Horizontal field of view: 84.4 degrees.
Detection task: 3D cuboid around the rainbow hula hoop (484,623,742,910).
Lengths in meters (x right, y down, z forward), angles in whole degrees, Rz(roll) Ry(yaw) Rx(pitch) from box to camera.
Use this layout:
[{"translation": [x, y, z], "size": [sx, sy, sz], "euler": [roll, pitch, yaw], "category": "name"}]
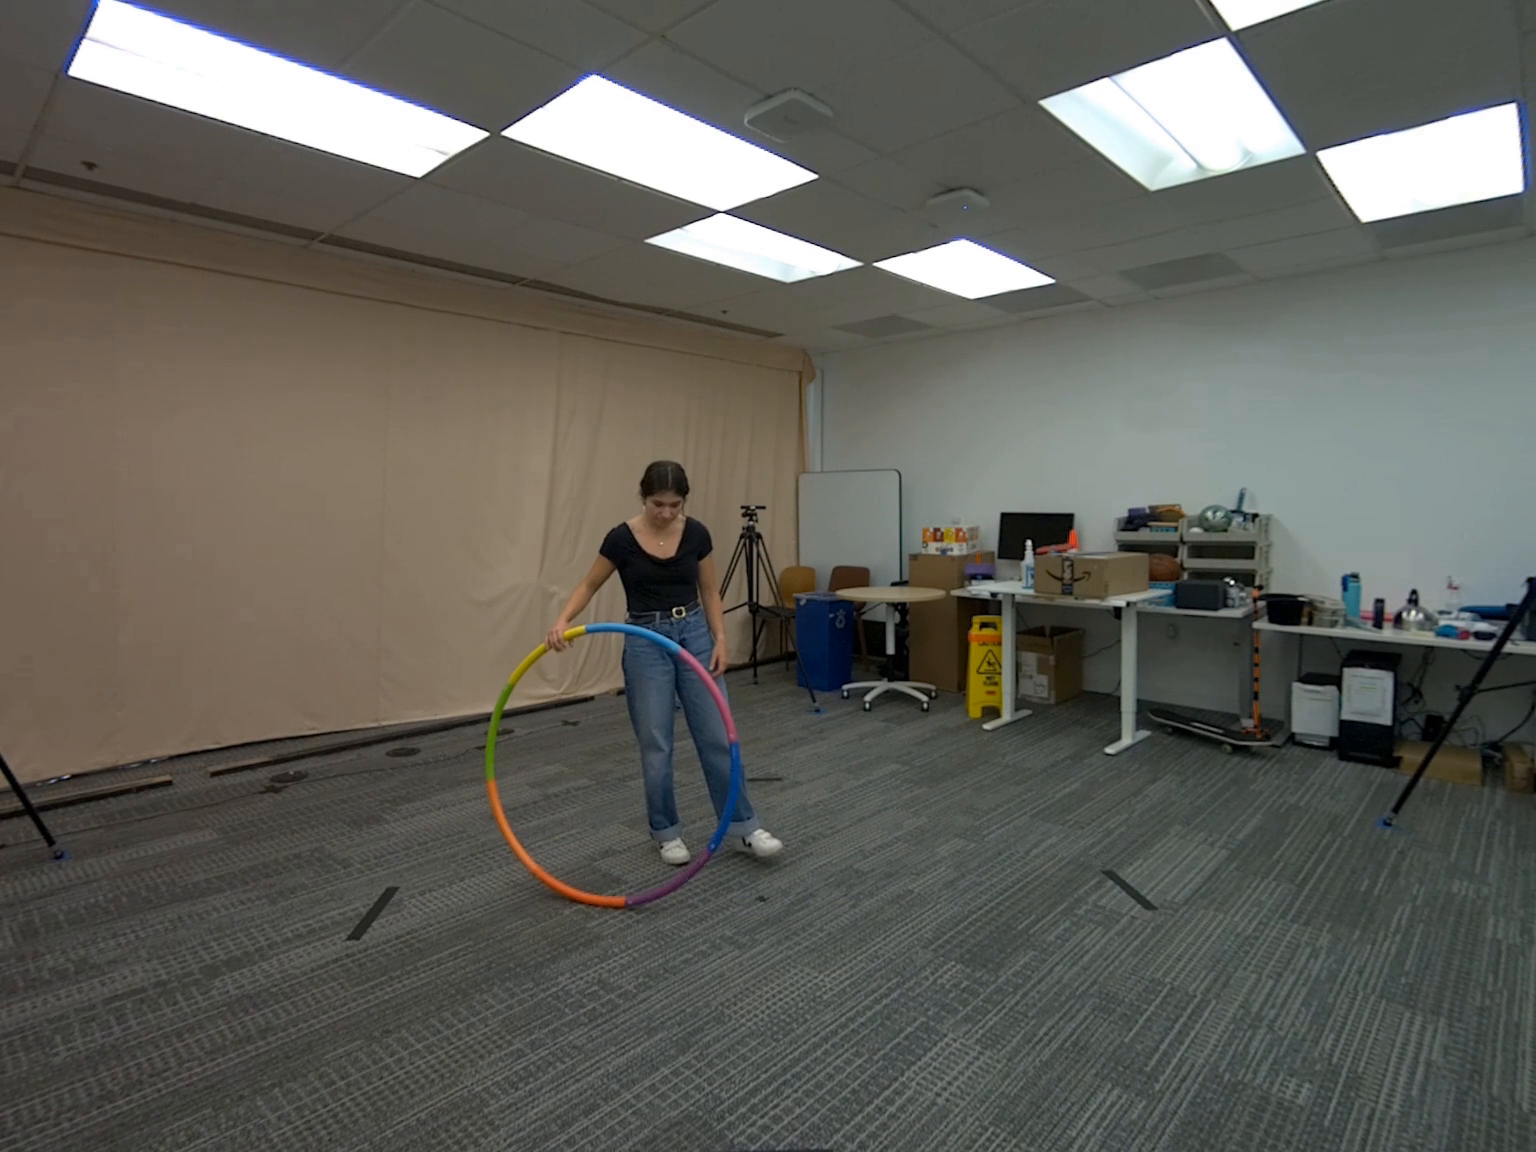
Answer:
[{"translation": [-0.562, 0.662, 2.986], "size": [0.997, 0.982, 0.035], "euler": [1, -6, 17], "category": "rainbow hula hoop"}]
